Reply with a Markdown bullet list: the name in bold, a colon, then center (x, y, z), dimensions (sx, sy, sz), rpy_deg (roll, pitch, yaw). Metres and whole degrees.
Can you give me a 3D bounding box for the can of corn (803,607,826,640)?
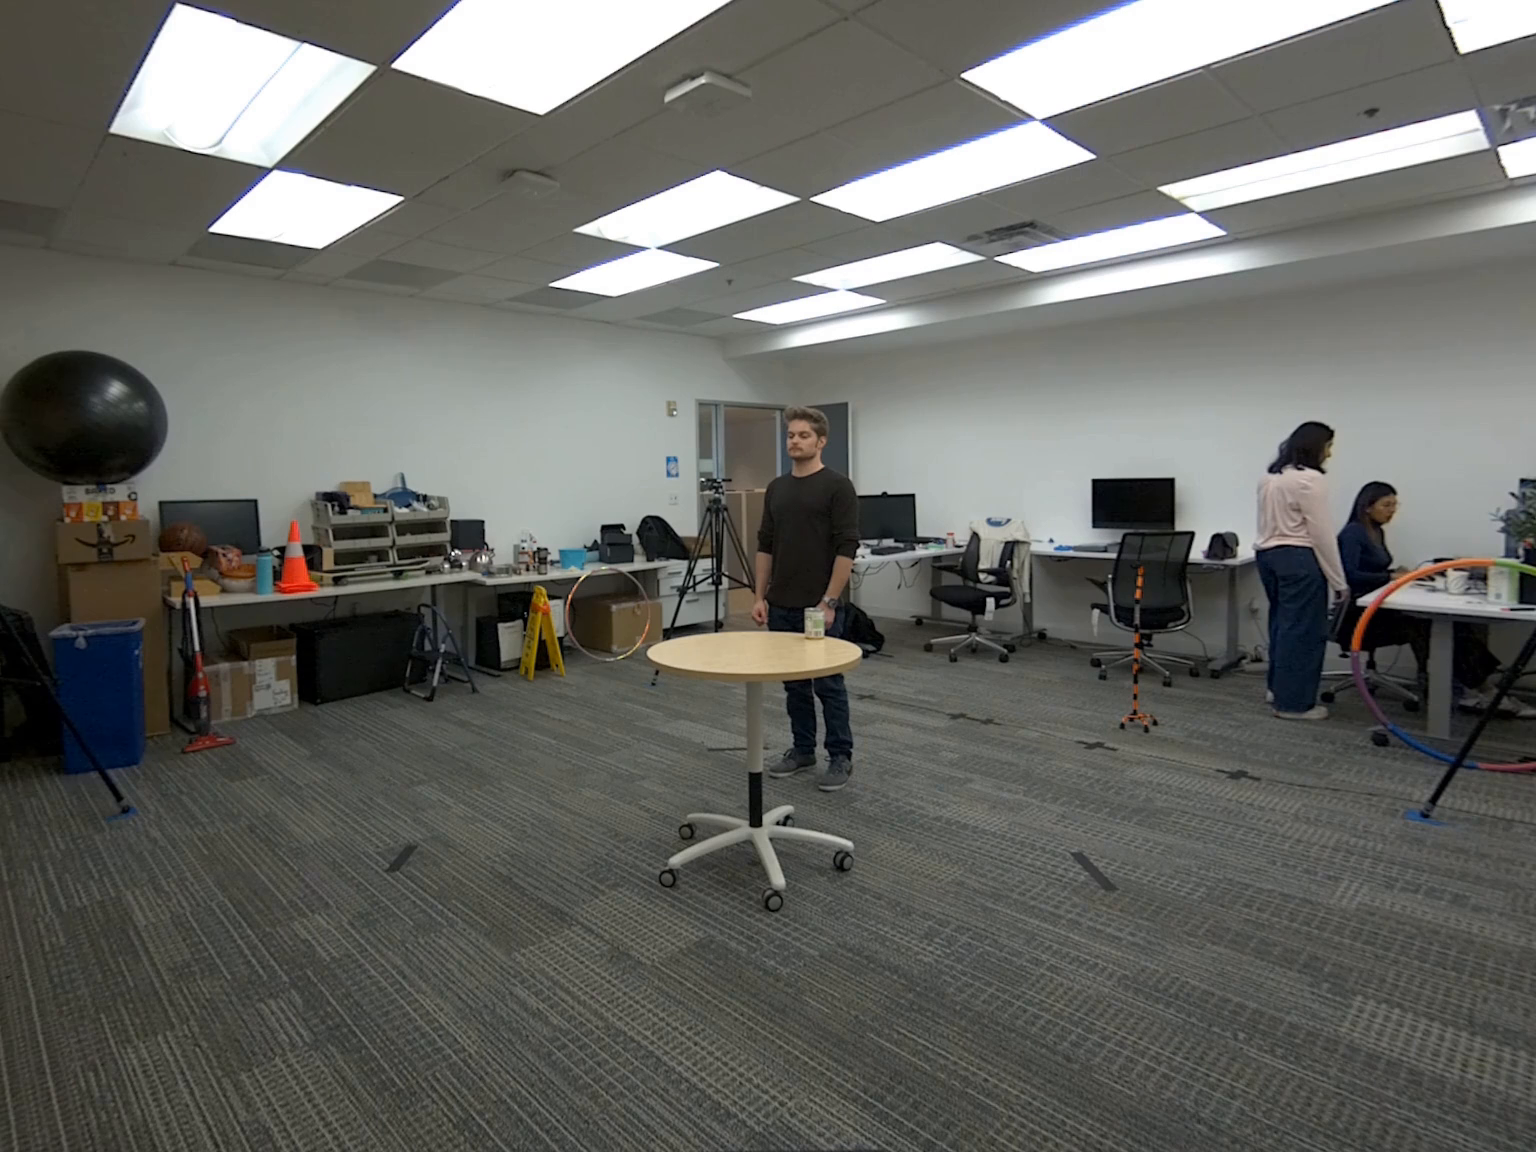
- **can of corn**: center (0.186, 0.186, 3.272), dimensions (0.074, 0.111, 0.074), rpy_deg (-1, 2, -2)
